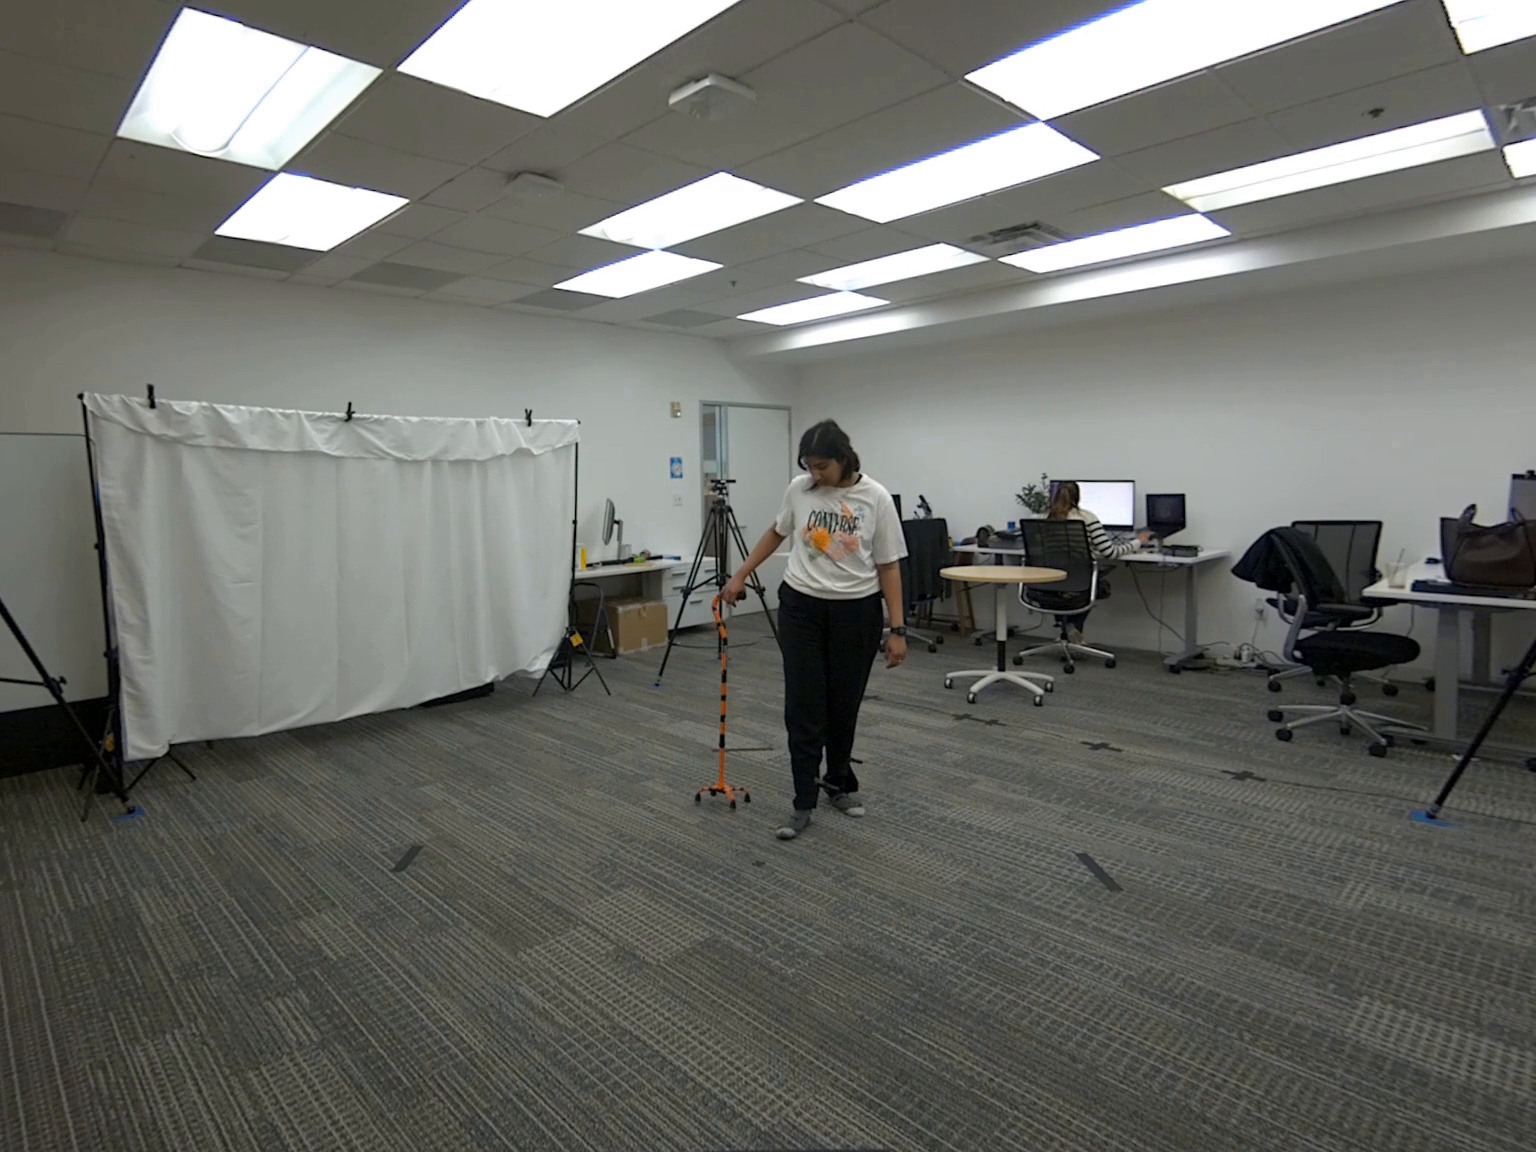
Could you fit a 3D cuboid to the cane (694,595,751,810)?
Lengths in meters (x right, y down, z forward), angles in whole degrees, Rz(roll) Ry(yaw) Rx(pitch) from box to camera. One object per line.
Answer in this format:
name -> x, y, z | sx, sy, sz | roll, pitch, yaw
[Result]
cane -> -0.189, 0.526, 3.726 | 0.212, 0.909, 0.147 | 0, -2, 29
